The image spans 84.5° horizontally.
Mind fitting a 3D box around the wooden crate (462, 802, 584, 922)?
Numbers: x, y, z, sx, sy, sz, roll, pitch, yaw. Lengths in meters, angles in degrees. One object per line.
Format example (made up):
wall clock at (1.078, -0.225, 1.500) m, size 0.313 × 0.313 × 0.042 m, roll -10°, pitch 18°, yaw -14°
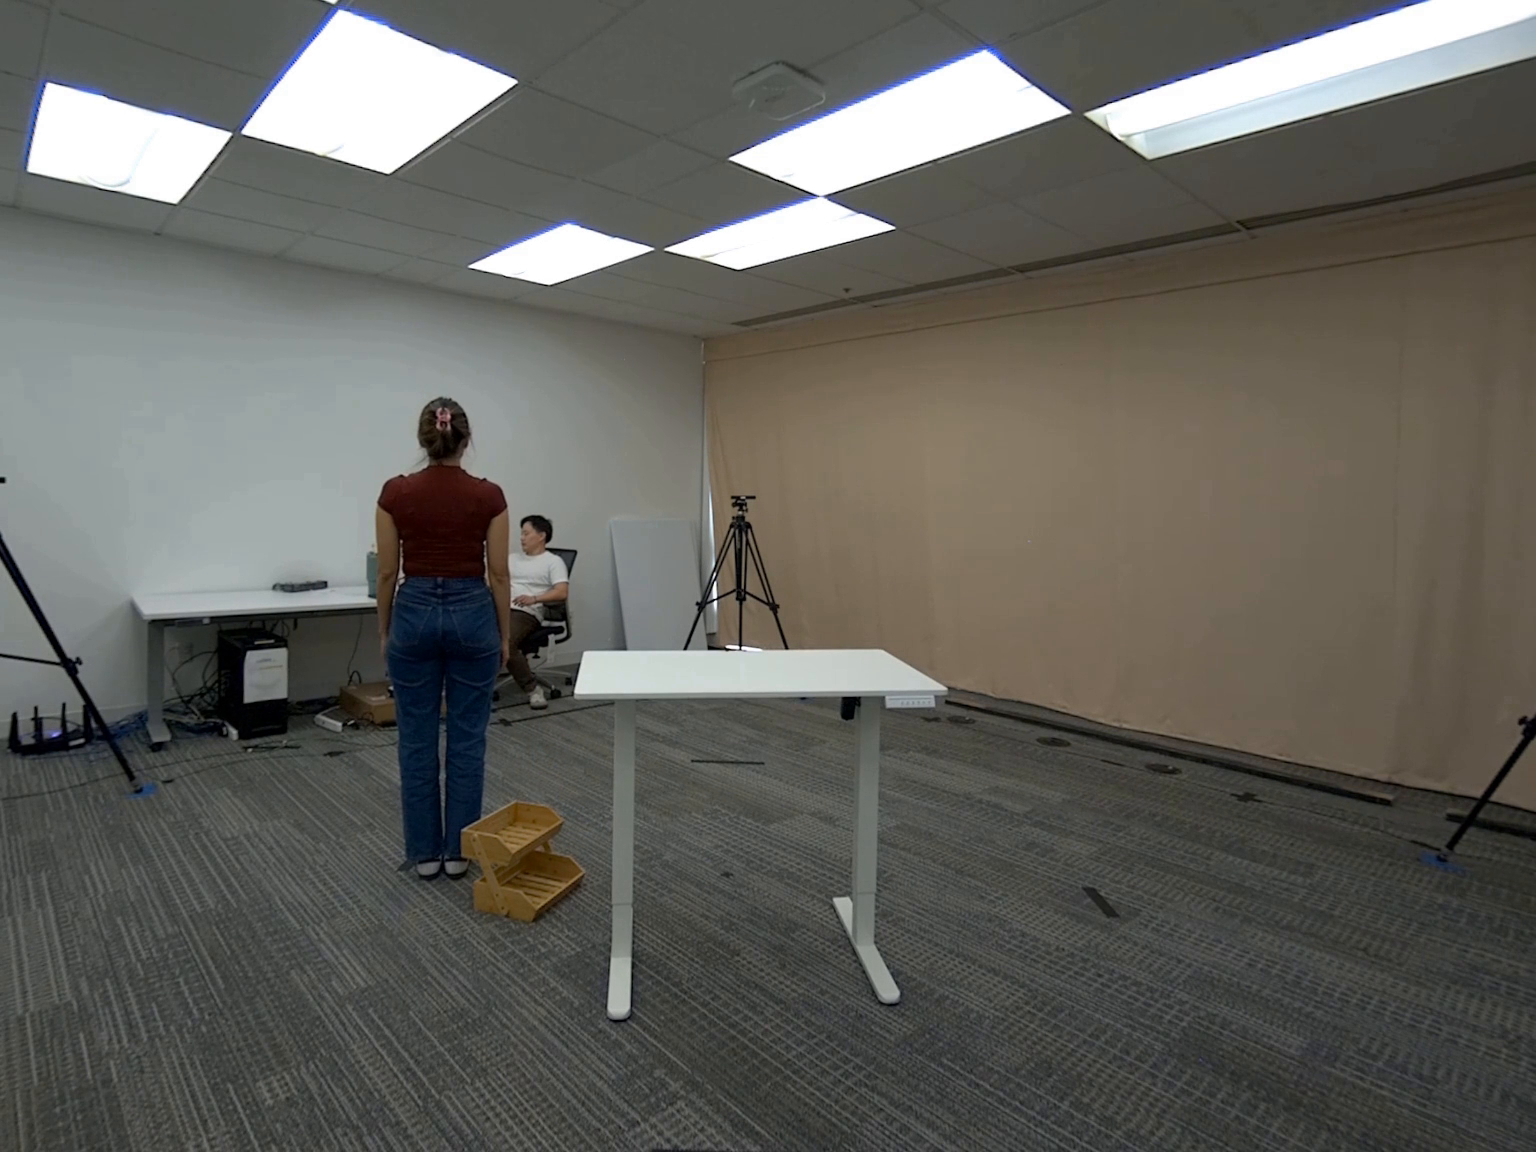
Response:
wooden crate at (-0.847, 0.973, 2.905) m, size 0.307 × 0.272 × 0.320 m, roll 2°, pitch 5°, yaw 21°
